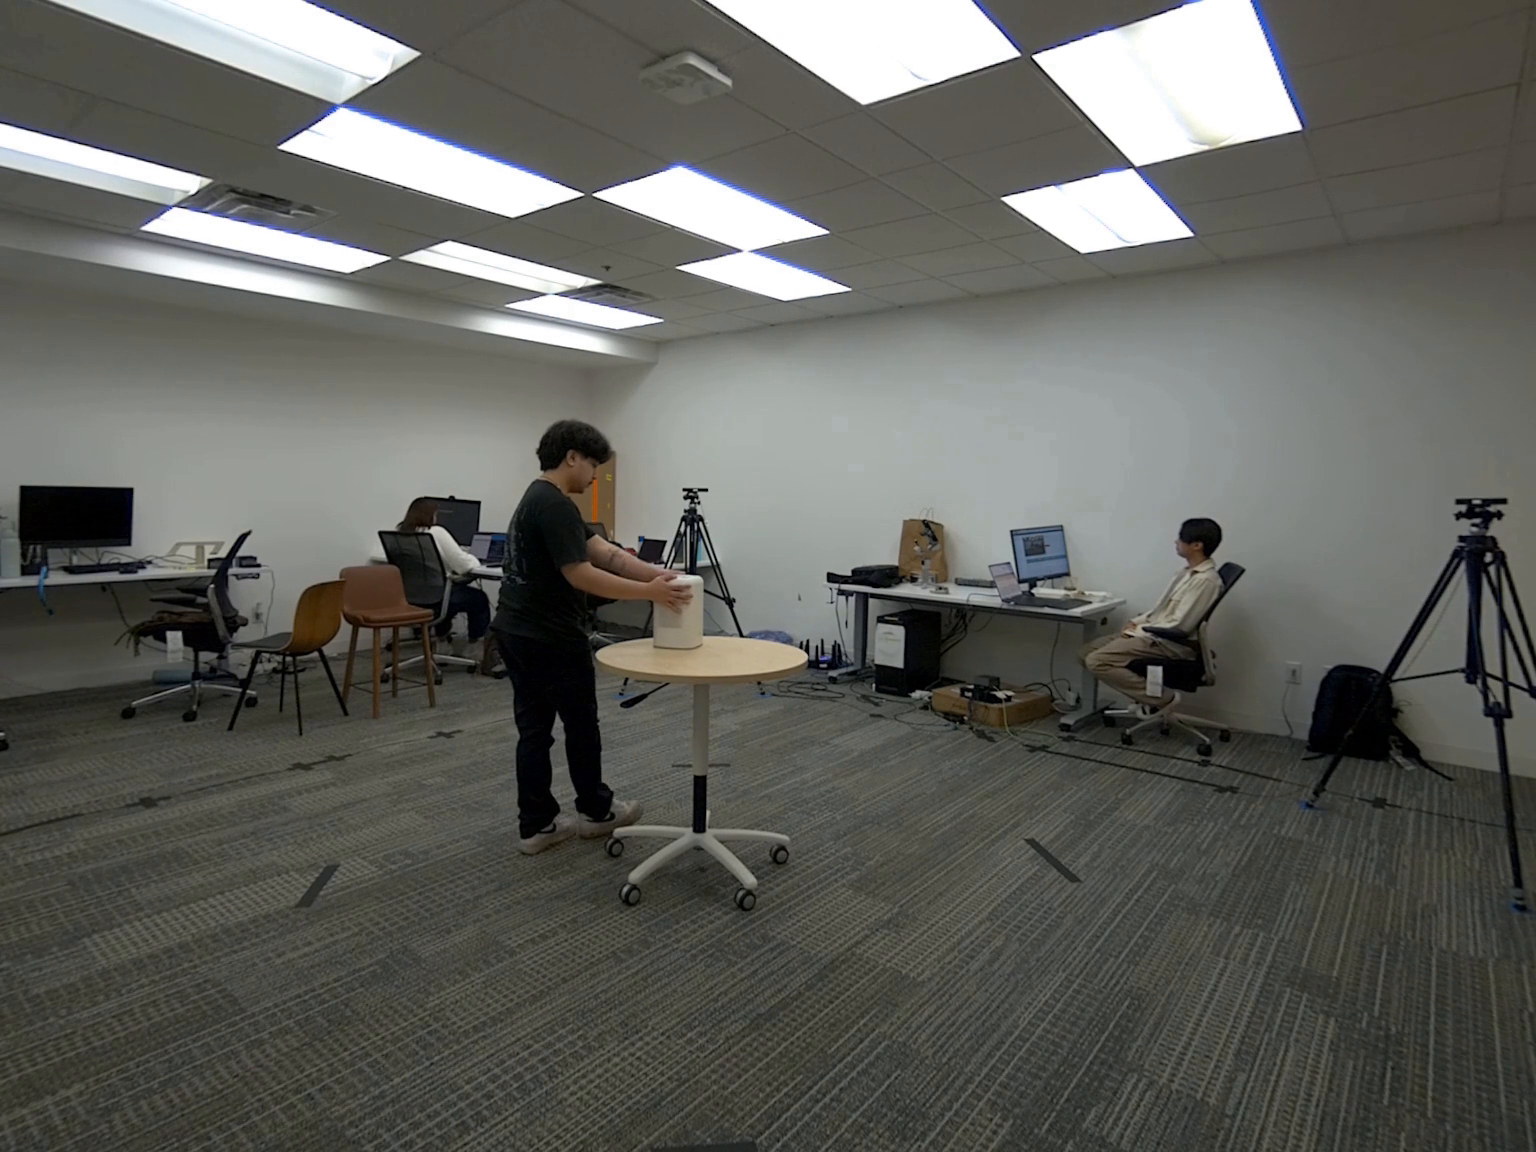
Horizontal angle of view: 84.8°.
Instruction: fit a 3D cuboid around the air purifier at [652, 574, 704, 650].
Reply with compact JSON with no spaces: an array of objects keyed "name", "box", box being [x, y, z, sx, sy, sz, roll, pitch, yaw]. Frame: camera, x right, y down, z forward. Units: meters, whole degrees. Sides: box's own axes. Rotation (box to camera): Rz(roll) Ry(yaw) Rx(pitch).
[{"name":"air purifier","box":[-0.353,0.133,3.236,0.174,0.265,0.168,2,3,15]}]
